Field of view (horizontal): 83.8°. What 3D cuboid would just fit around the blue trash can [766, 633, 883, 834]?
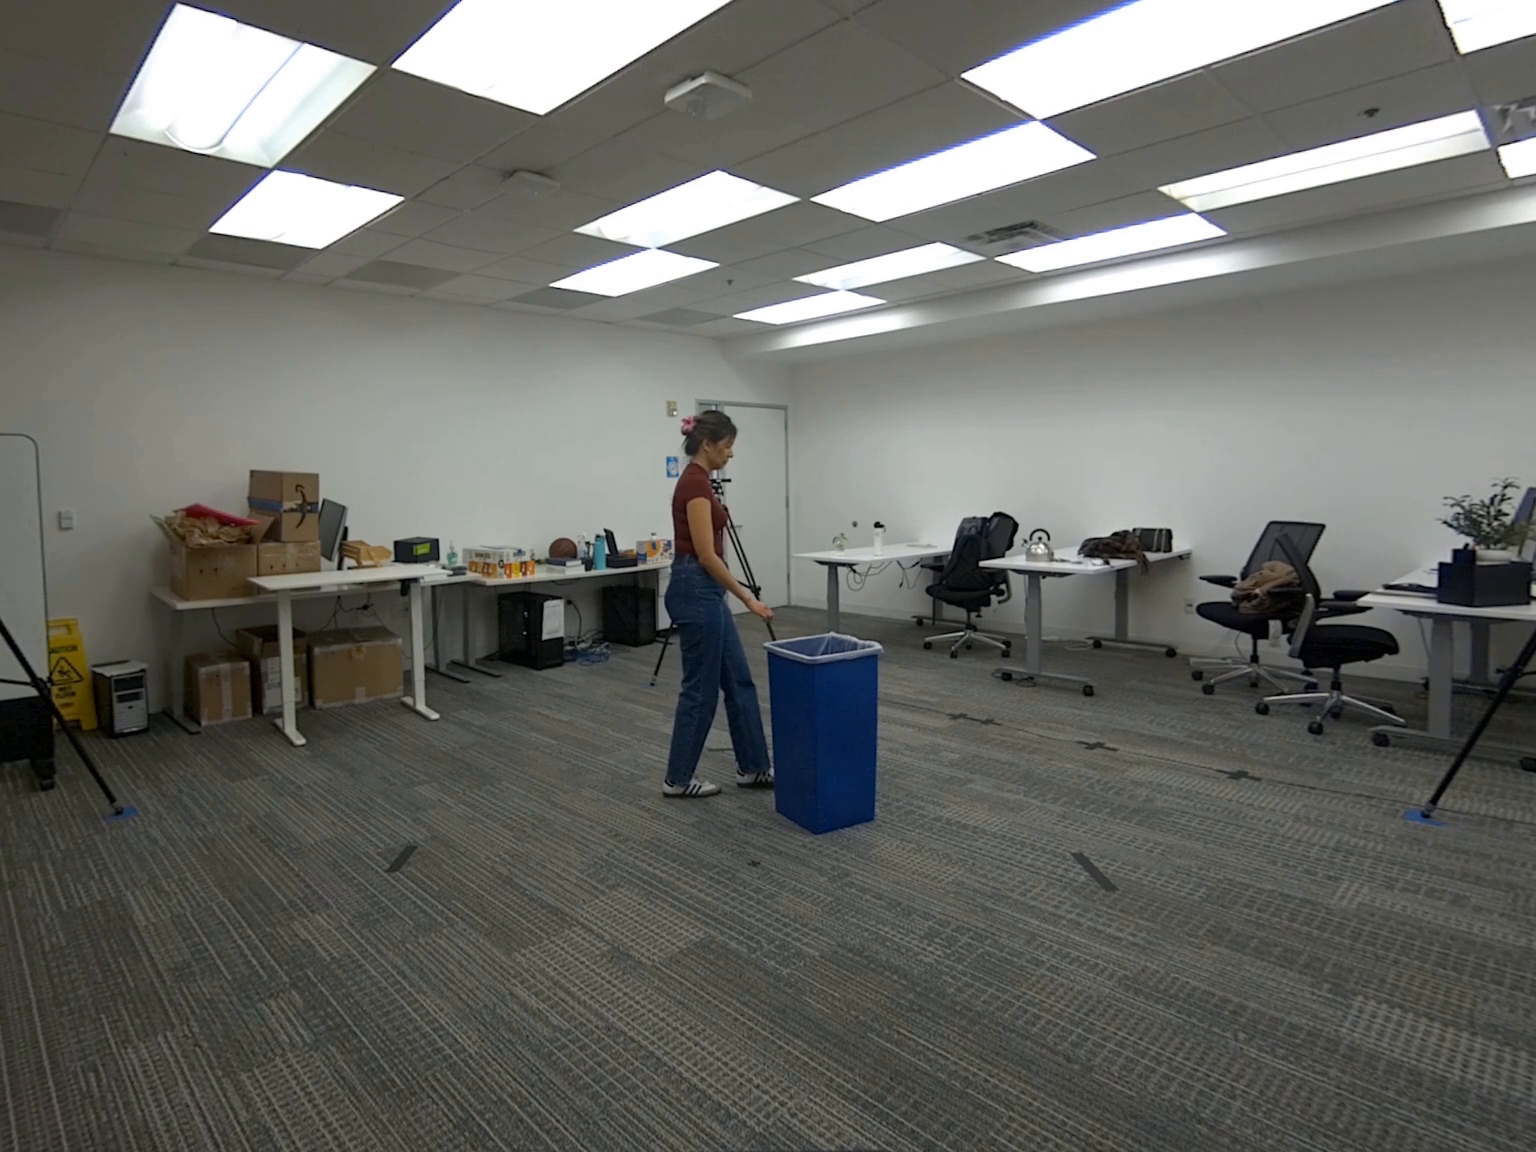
[{"bbox_3d":[0.229,0.635,3.514,0.365,0.711,0.389,-3,4,-32],"label":"blue trash can"}]
